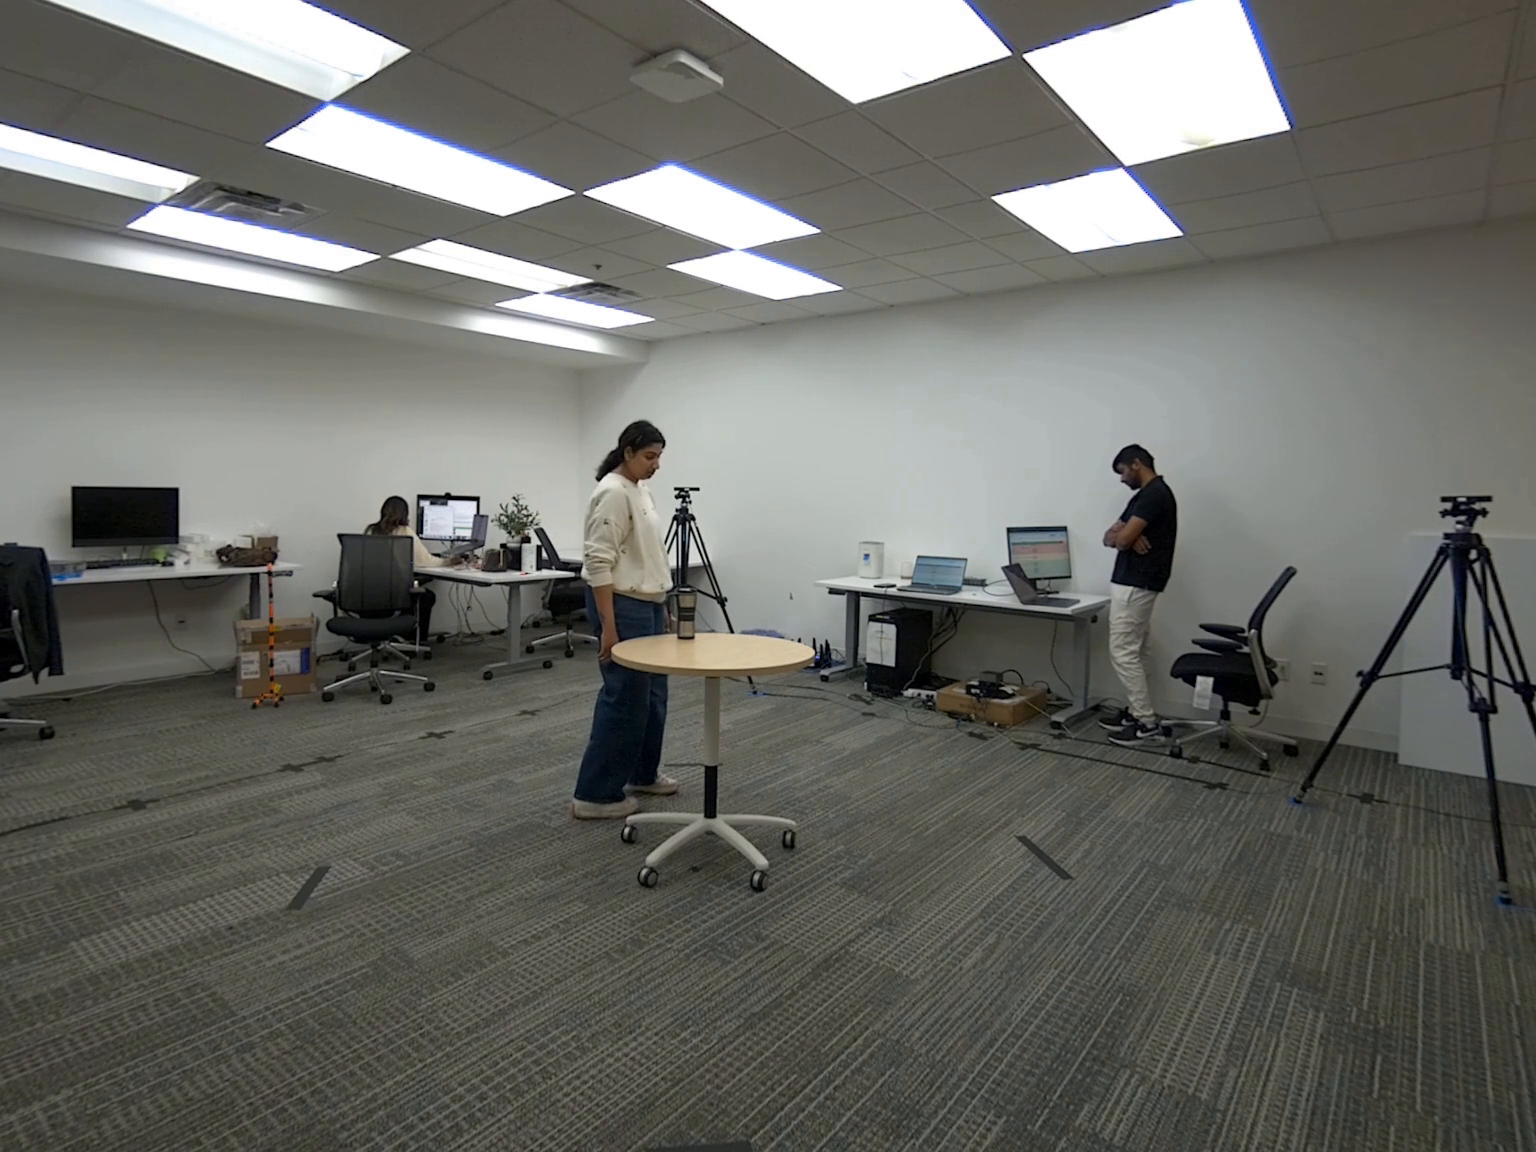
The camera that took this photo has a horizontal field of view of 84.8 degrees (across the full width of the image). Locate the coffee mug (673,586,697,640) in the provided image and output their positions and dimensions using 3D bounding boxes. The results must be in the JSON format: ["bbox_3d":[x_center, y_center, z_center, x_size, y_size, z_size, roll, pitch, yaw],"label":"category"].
[{"bbox_3d":[-0.358,0.150,3.462,0.126,0.202,0.085,6,8,41],"label":"coffee mug"}]
